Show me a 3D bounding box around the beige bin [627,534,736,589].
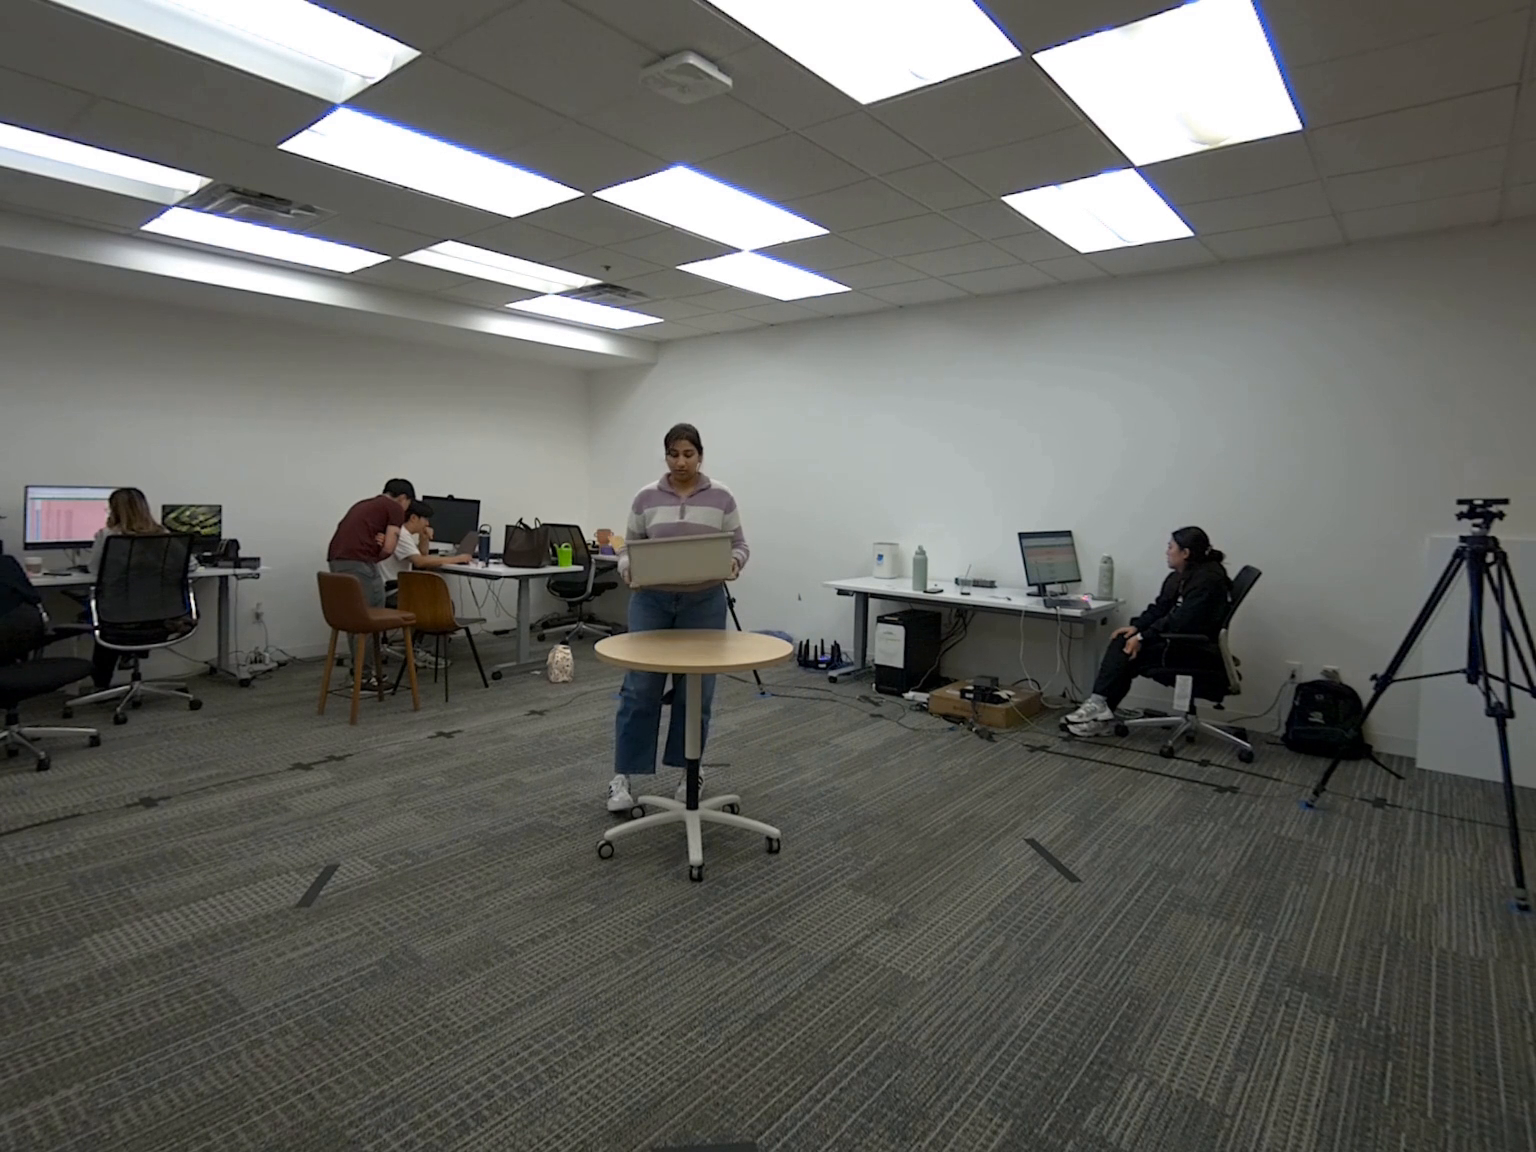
[{"bbox_3d":[-0.372,-0.067,3.472,0.420,0.189,0.379,-4,2,-5],"label":"beige bin"}]
